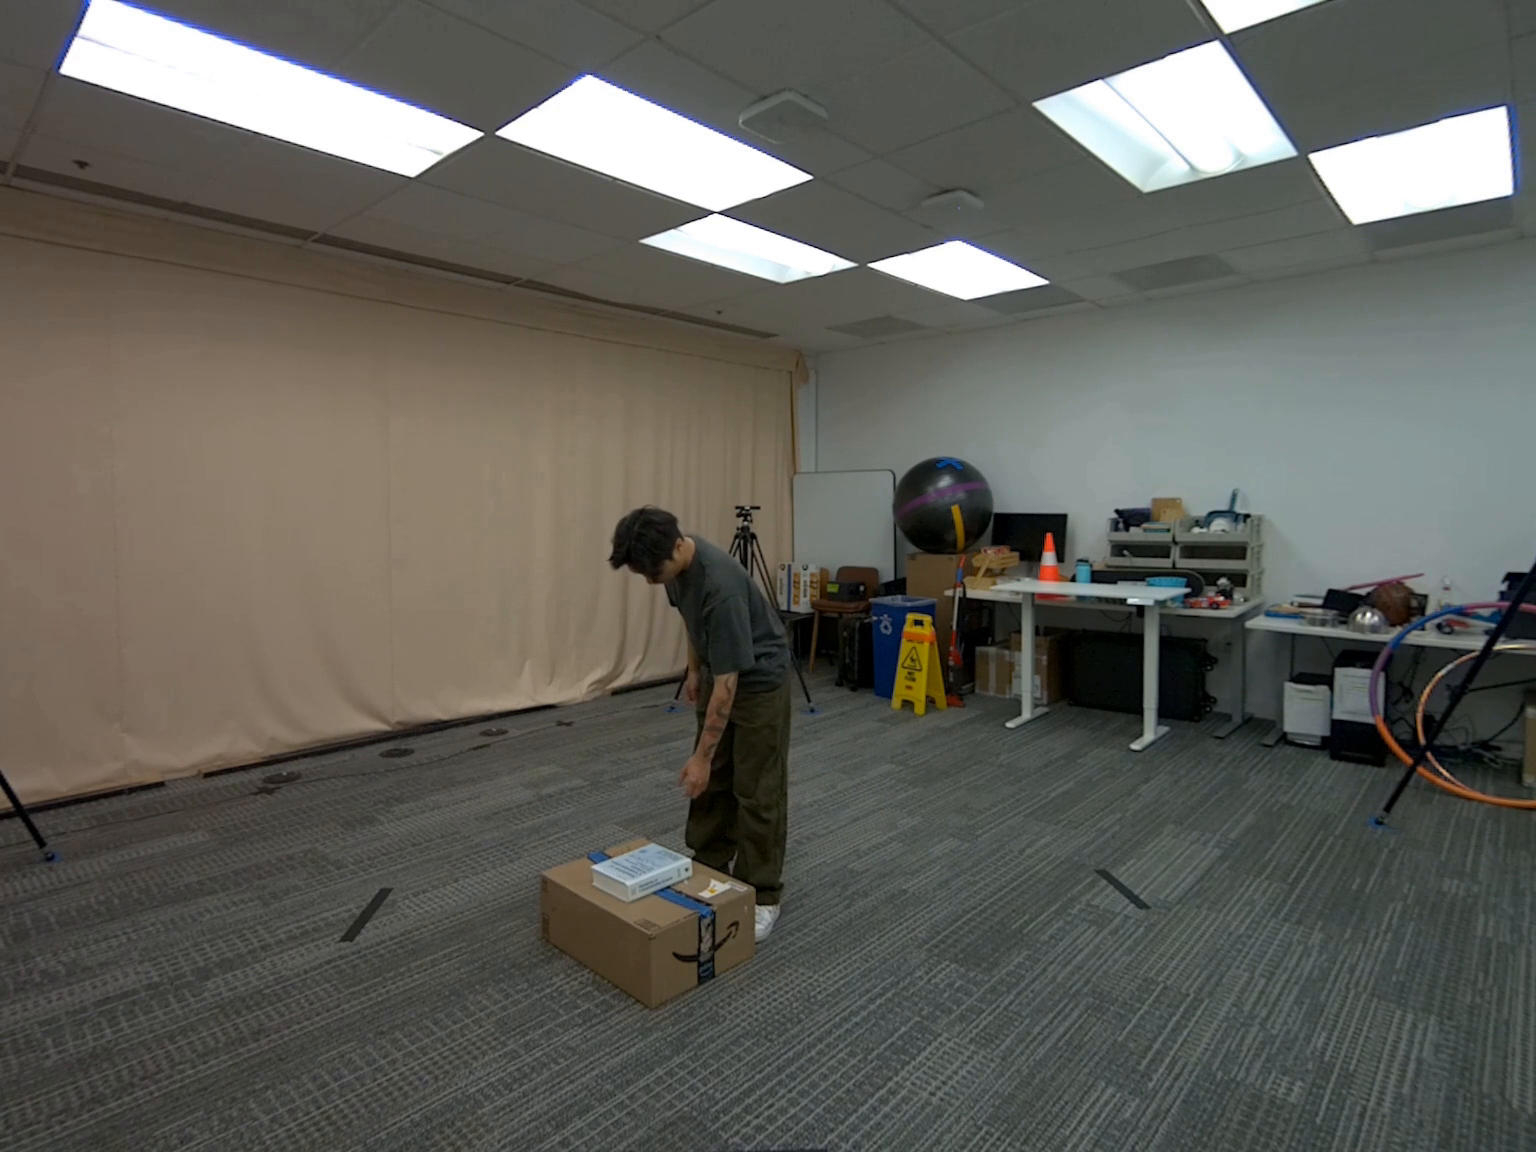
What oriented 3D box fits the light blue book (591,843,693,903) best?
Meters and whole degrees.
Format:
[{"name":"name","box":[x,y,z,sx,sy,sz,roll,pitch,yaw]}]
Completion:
[{"name":"light blue book","box":[-0.398,0.934,2.665,0.198,0.059,0.253,3,5,43]}]
